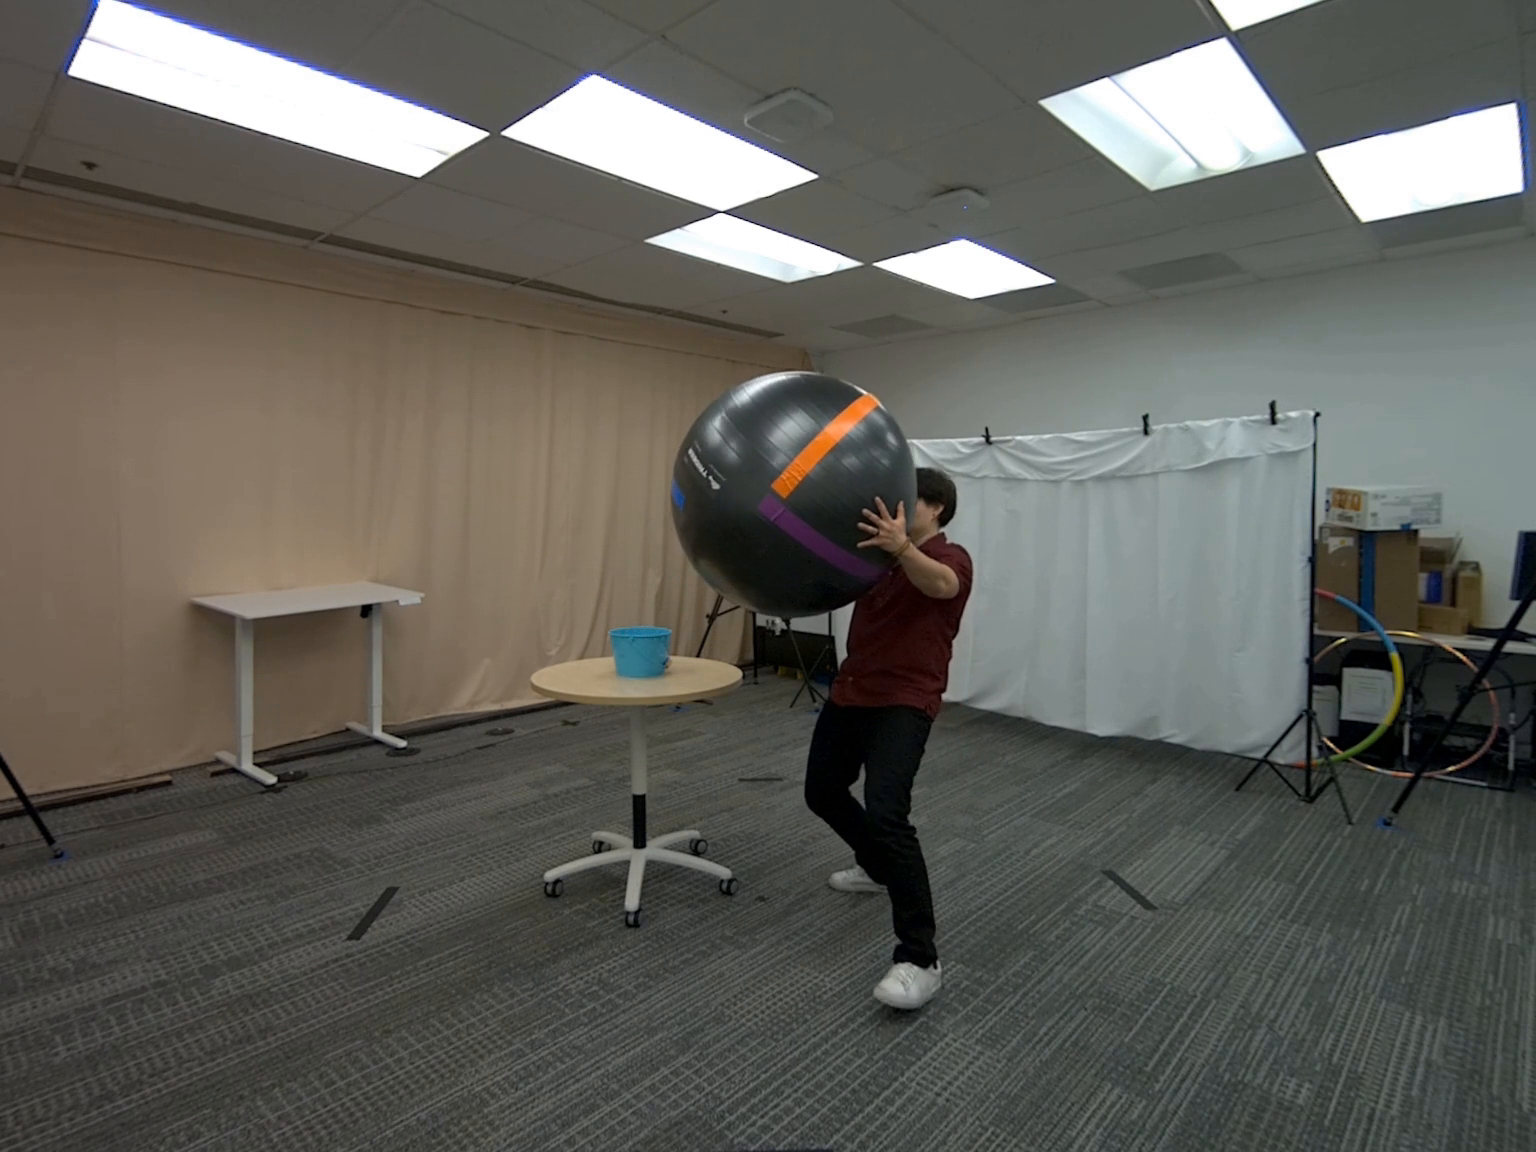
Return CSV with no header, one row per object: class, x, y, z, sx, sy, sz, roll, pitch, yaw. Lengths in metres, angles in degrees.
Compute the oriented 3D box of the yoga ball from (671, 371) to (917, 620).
yoga ball,0.076,-0.257,2.607,0.757,0.756,0.761,0,4,-2
